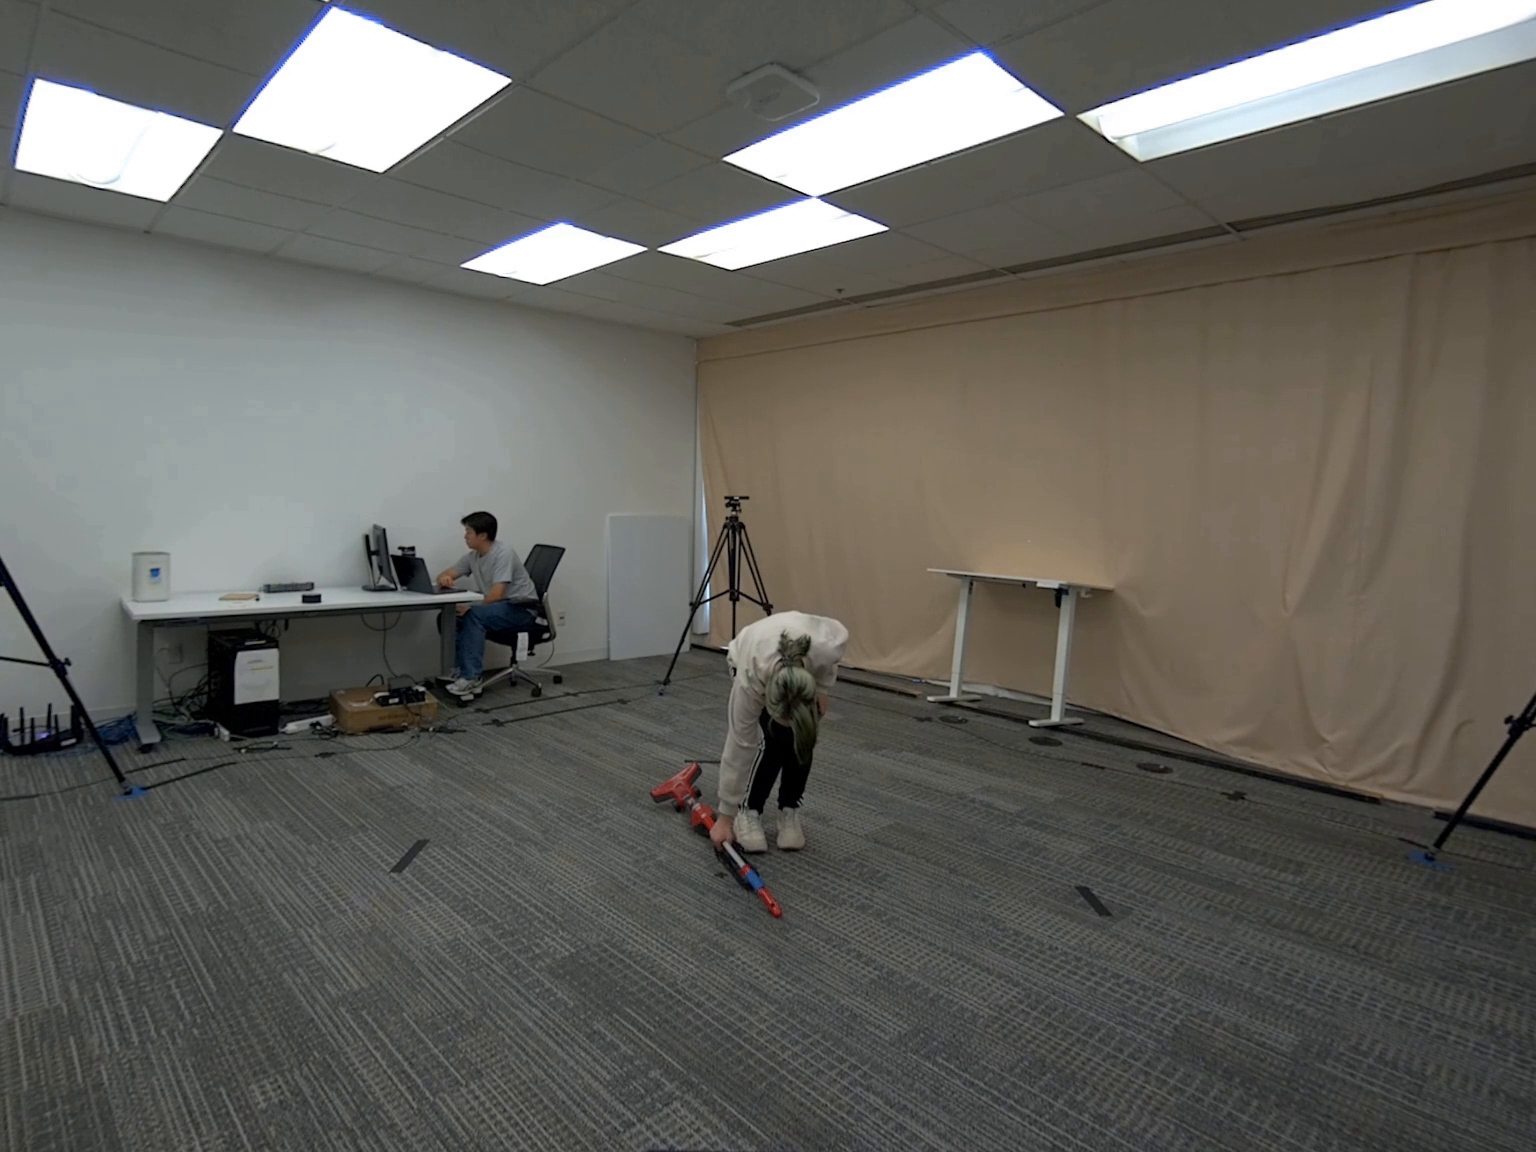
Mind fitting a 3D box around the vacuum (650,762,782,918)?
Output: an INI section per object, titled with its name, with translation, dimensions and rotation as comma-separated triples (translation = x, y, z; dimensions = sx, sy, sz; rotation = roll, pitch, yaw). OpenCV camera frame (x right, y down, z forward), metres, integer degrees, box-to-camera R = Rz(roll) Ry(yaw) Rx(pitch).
[vacuum]
translation = -0.196, 1.036, 3.285
dimensions = 0.251, 0.141, 1.072
rotation = -33, 20, -14
